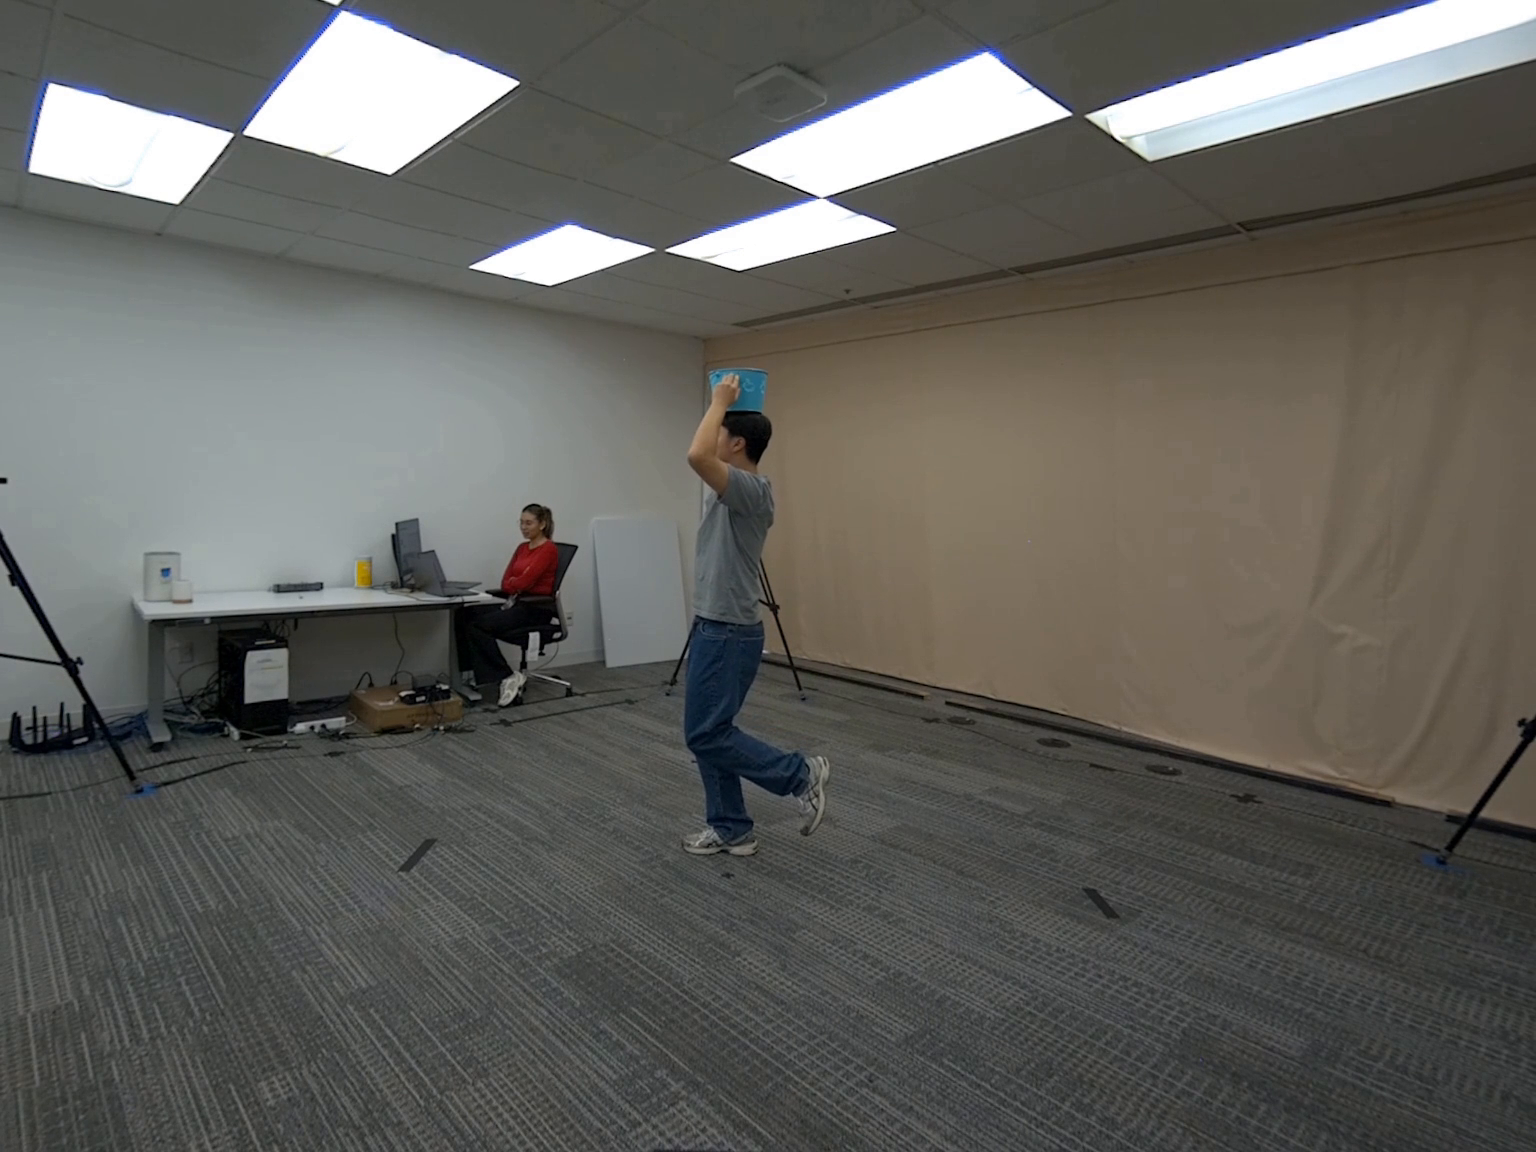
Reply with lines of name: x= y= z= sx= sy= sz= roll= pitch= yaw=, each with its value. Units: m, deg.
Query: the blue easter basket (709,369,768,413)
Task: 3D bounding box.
blue easter basket: x=-0.121 y=-0.702 z=3.238 sx=0.243 sy=0.155 sz=0.244 roll=0 pitch=4 yaw=-1
